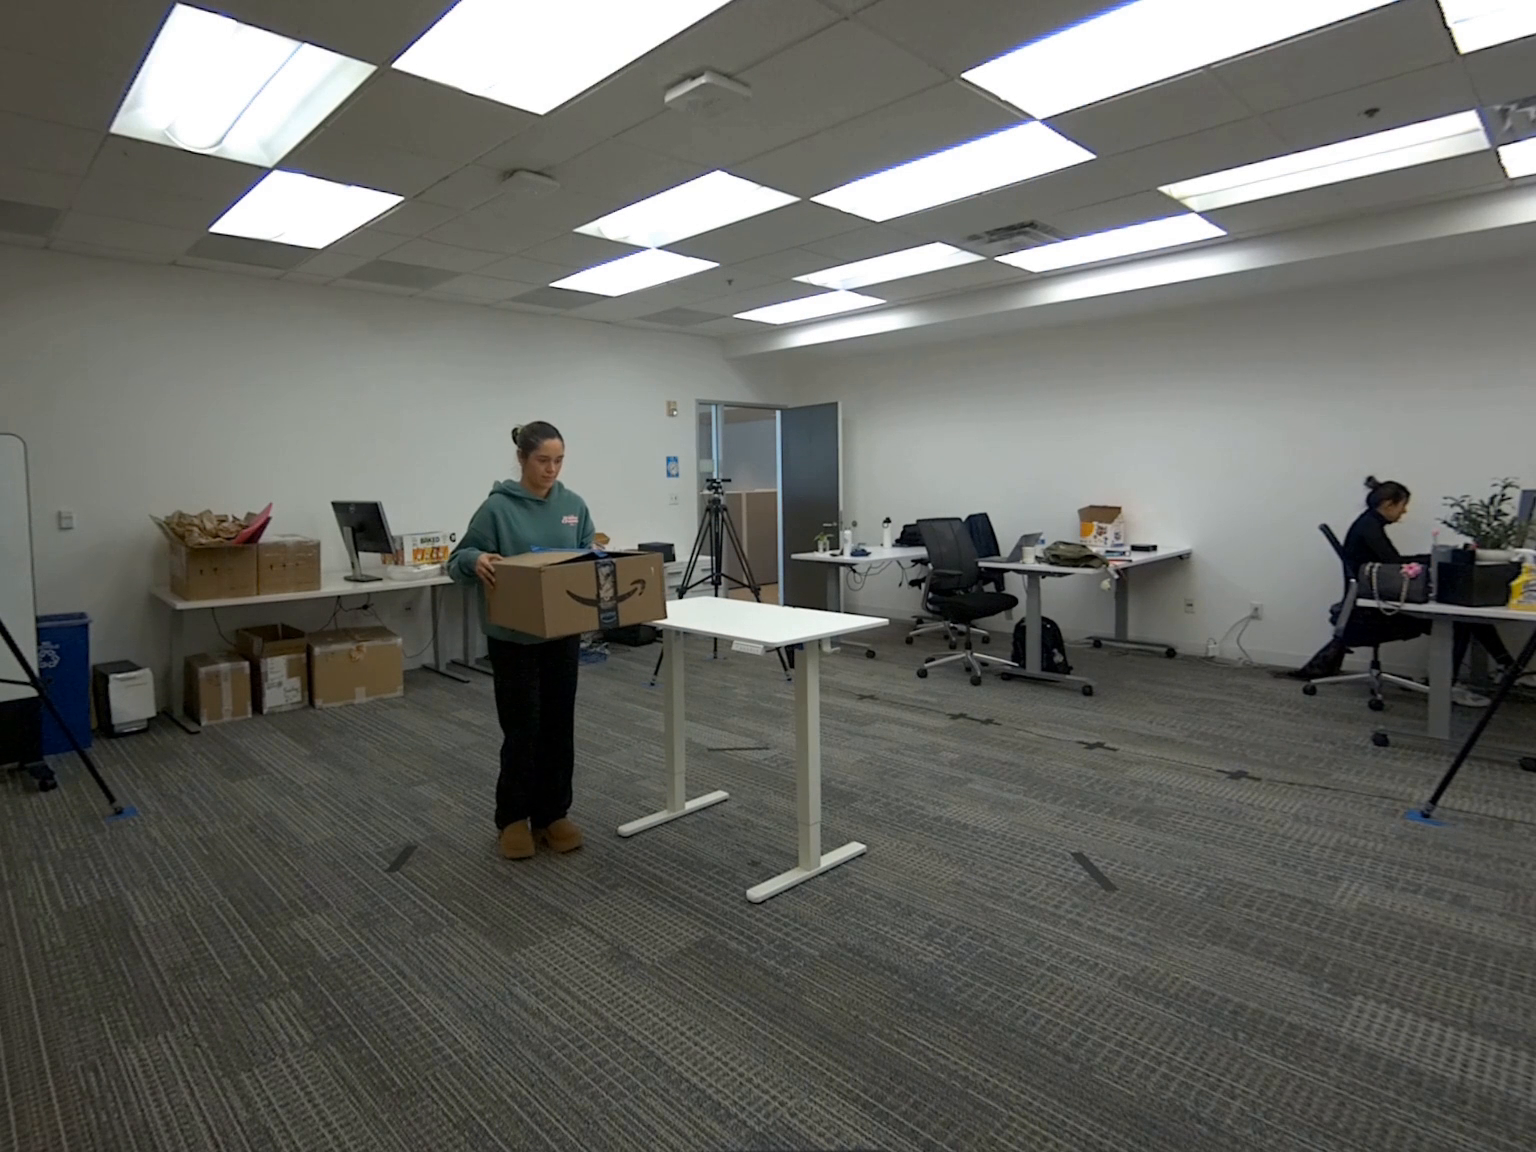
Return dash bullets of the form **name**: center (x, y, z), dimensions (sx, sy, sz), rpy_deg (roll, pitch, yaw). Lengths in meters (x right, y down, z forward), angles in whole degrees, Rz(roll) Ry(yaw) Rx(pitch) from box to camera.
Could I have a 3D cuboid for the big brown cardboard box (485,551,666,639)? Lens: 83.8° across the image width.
- **big brown cardboard box**: center (-0.655, 0.041, 2.850), dimensions (0.408, 0.232, 0.605), rpy_deg (-8, 6, -34)
